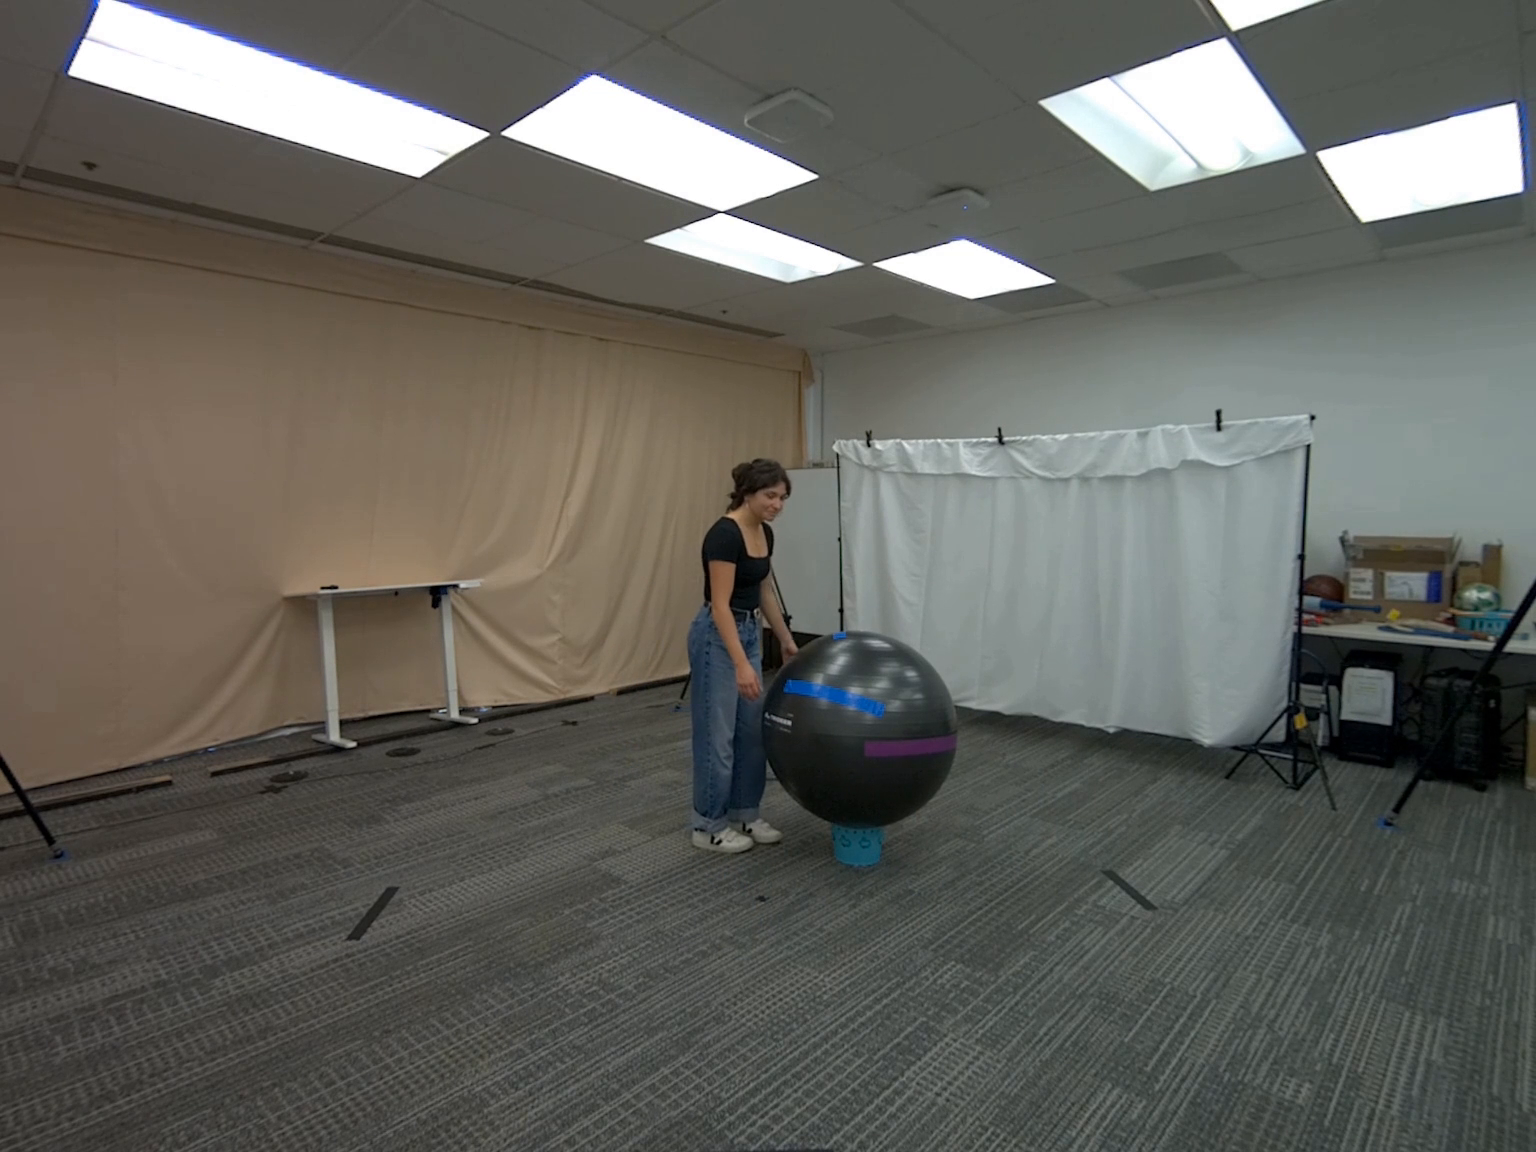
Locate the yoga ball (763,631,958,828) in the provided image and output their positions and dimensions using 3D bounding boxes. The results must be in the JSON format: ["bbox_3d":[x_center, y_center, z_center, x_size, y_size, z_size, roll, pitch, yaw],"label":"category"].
[{"bbox_3d":[0.361,0.605,3.334,0.757,0.756,0.760,0,4,-2],"label":"yoga ball"}]
